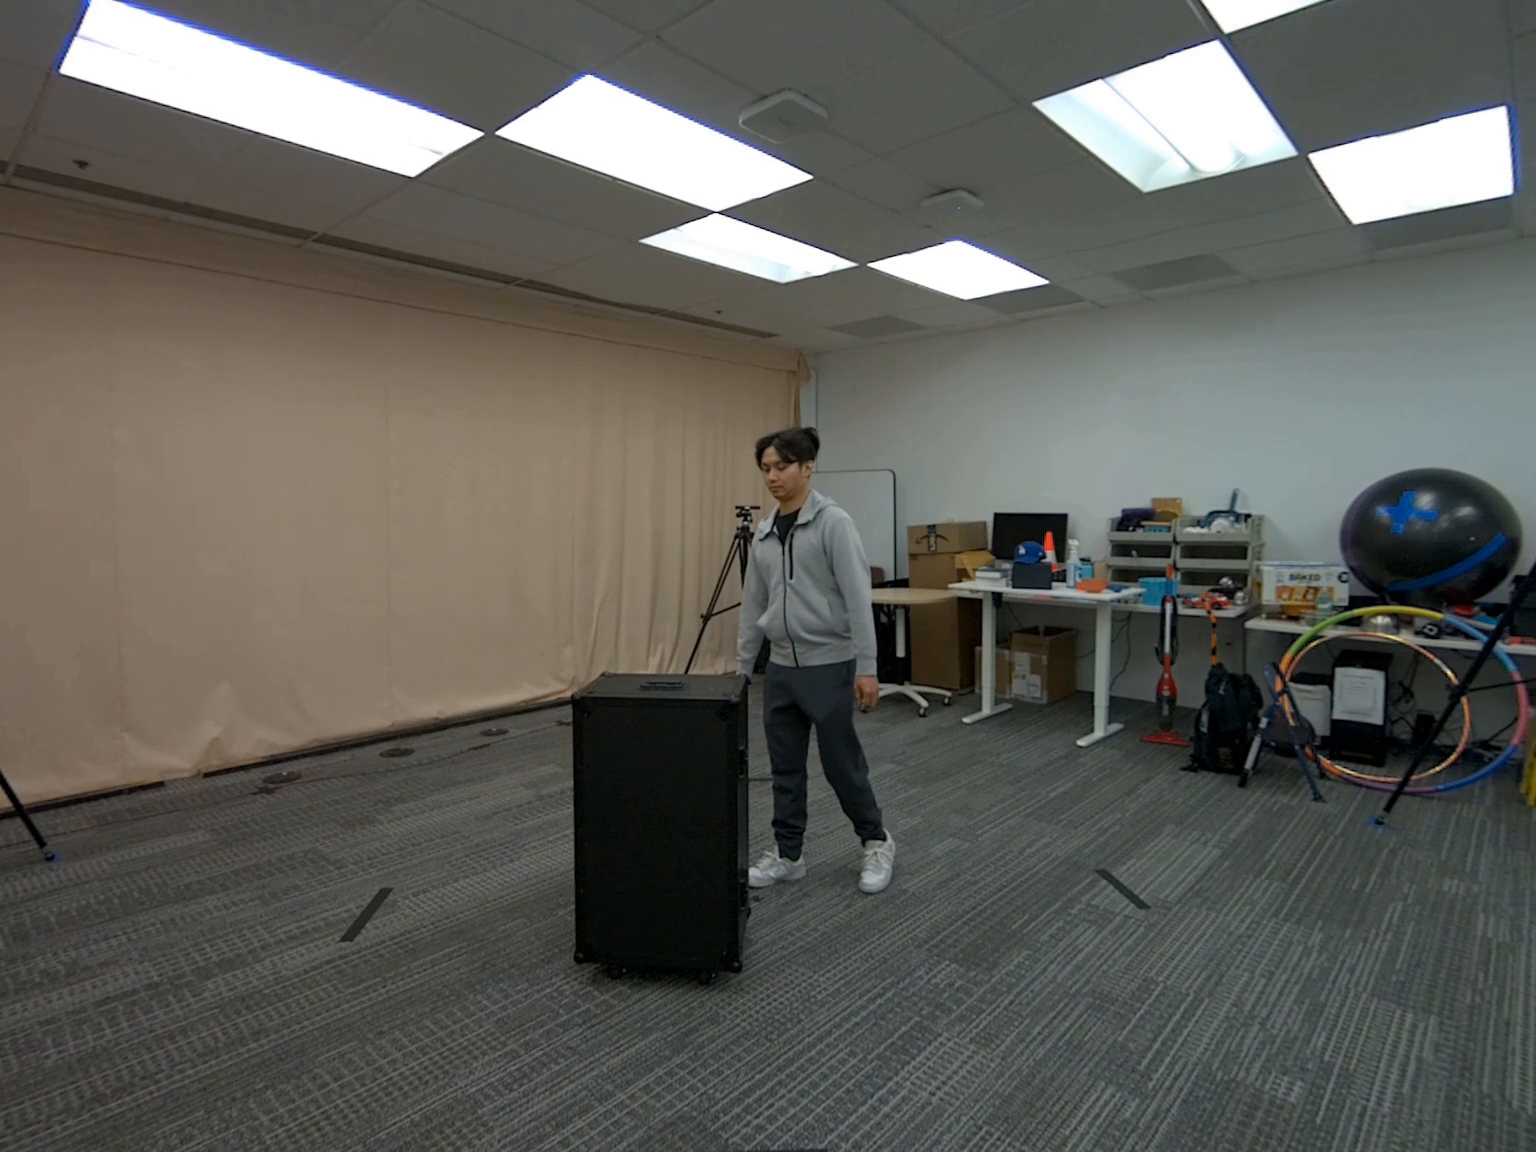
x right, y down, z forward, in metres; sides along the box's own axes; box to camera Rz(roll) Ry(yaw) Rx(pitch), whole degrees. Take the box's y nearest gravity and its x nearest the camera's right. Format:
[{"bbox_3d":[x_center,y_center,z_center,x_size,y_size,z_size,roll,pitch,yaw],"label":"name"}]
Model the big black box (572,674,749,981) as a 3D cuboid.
[{"bbox_3d":[-0.316,0.755,2.581,0.525,0.861,0.393,0,1,7],"label":"big black box"}]
